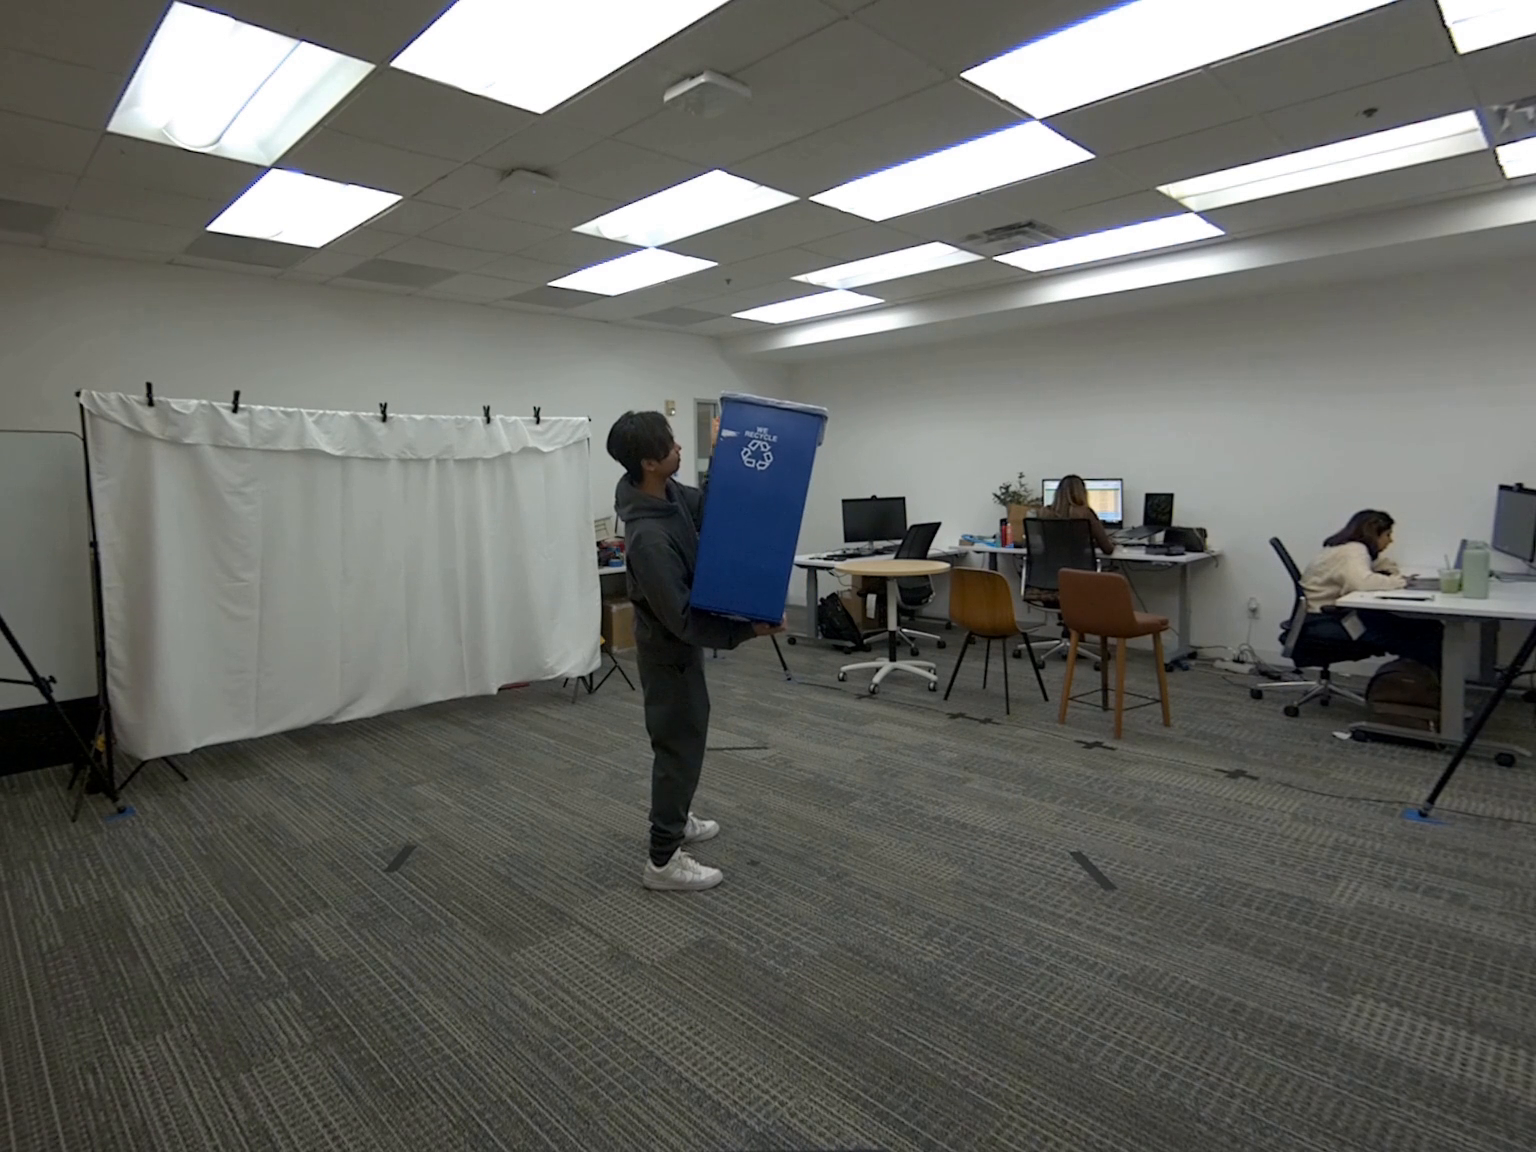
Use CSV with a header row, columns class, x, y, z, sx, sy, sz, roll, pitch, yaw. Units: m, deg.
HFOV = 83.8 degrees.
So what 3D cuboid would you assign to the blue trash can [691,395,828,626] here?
class,x,y,z,sx,sy,sz,roll,pitch,yaw
blue trash can,-0.037,-0.214,2.917,0.376,0.718,0.374,9,-9,3
